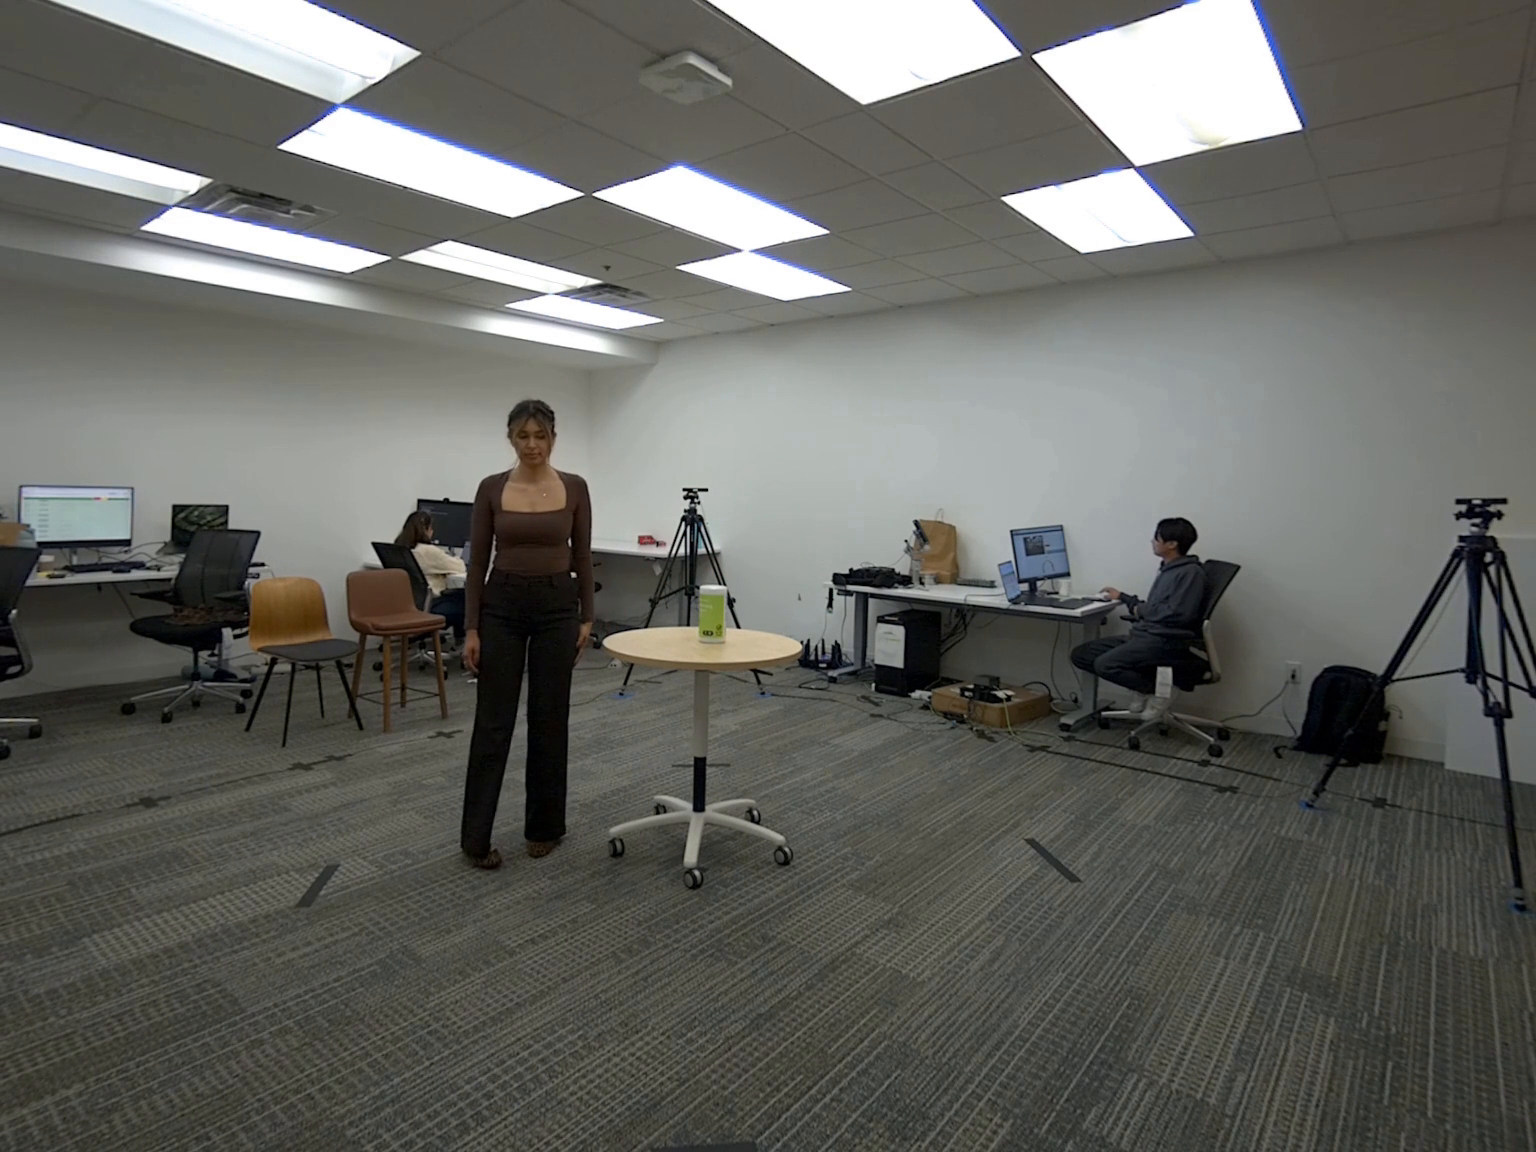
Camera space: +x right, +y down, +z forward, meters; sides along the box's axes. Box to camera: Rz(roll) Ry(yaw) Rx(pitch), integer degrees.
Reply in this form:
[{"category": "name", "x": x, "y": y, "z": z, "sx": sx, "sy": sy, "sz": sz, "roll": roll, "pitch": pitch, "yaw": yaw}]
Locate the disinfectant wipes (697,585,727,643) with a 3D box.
[{"category": "disinfectant wipes", "x": -0.226, "y": 0.147, "z": 3.315, "sx": 0.117, "sy": 0.217, "sz": 0.118, "roll": 2, "pitch": 4, "yaw": -2}]
